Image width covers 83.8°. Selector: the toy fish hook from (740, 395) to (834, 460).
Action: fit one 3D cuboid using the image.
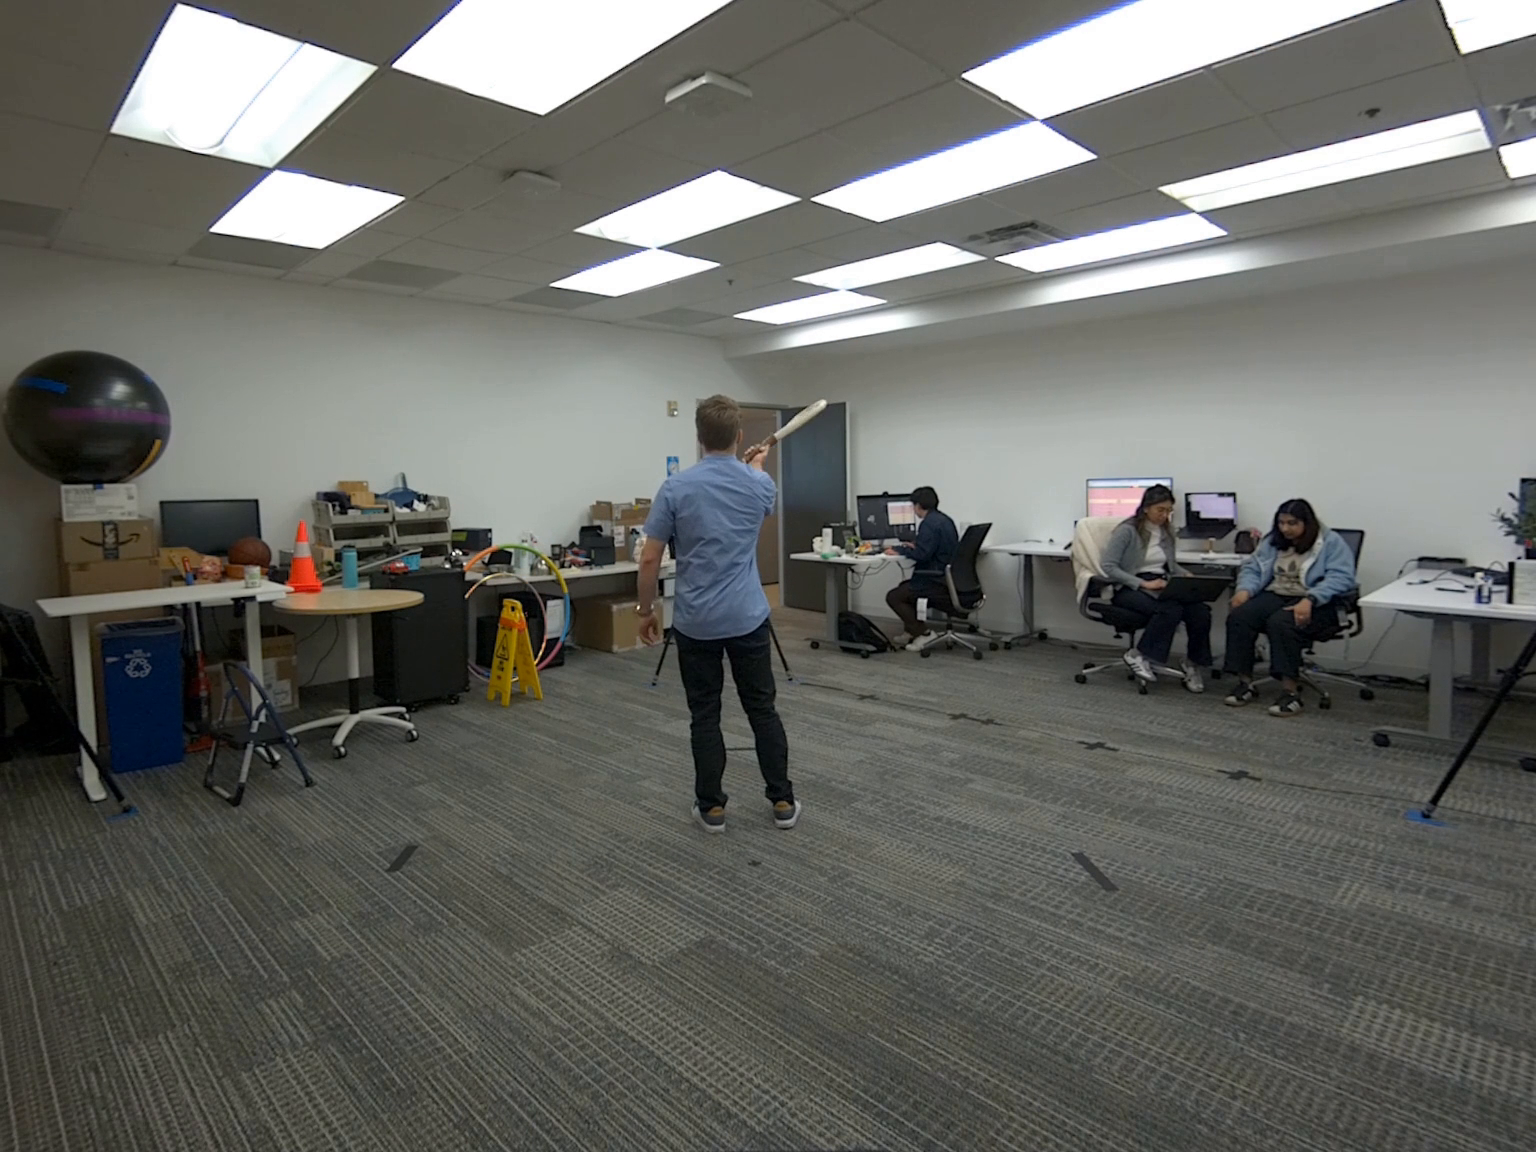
[{"bbox_3d":[0.061,-0.659,4.002,0.505,0.048,0.227,-38,10,-9],"label":"toy fish hook"}]
